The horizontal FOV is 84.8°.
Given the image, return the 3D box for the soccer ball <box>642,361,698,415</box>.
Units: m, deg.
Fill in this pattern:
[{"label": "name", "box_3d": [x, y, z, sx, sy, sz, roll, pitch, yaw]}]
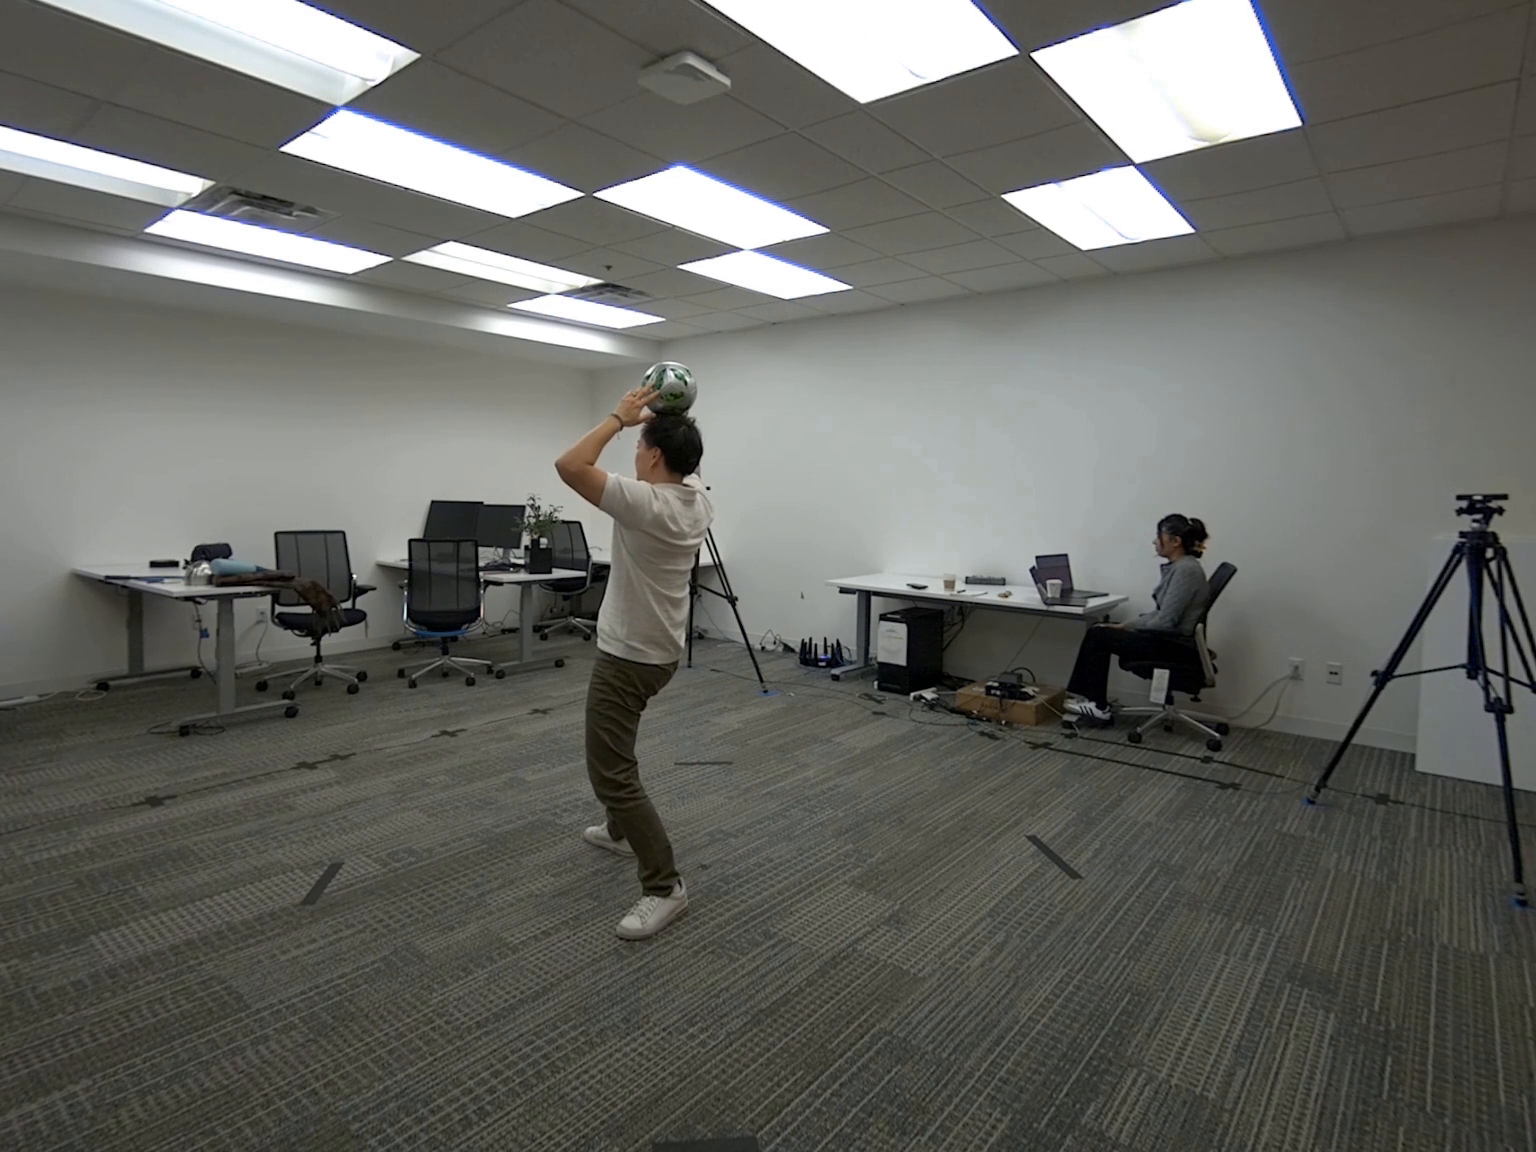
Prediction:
[{"label": "soccer ball", "box_3d": [-0.336, -0.621, 2.831, 0.187, 0.187, 0.188, 1, 4, -2]}]
